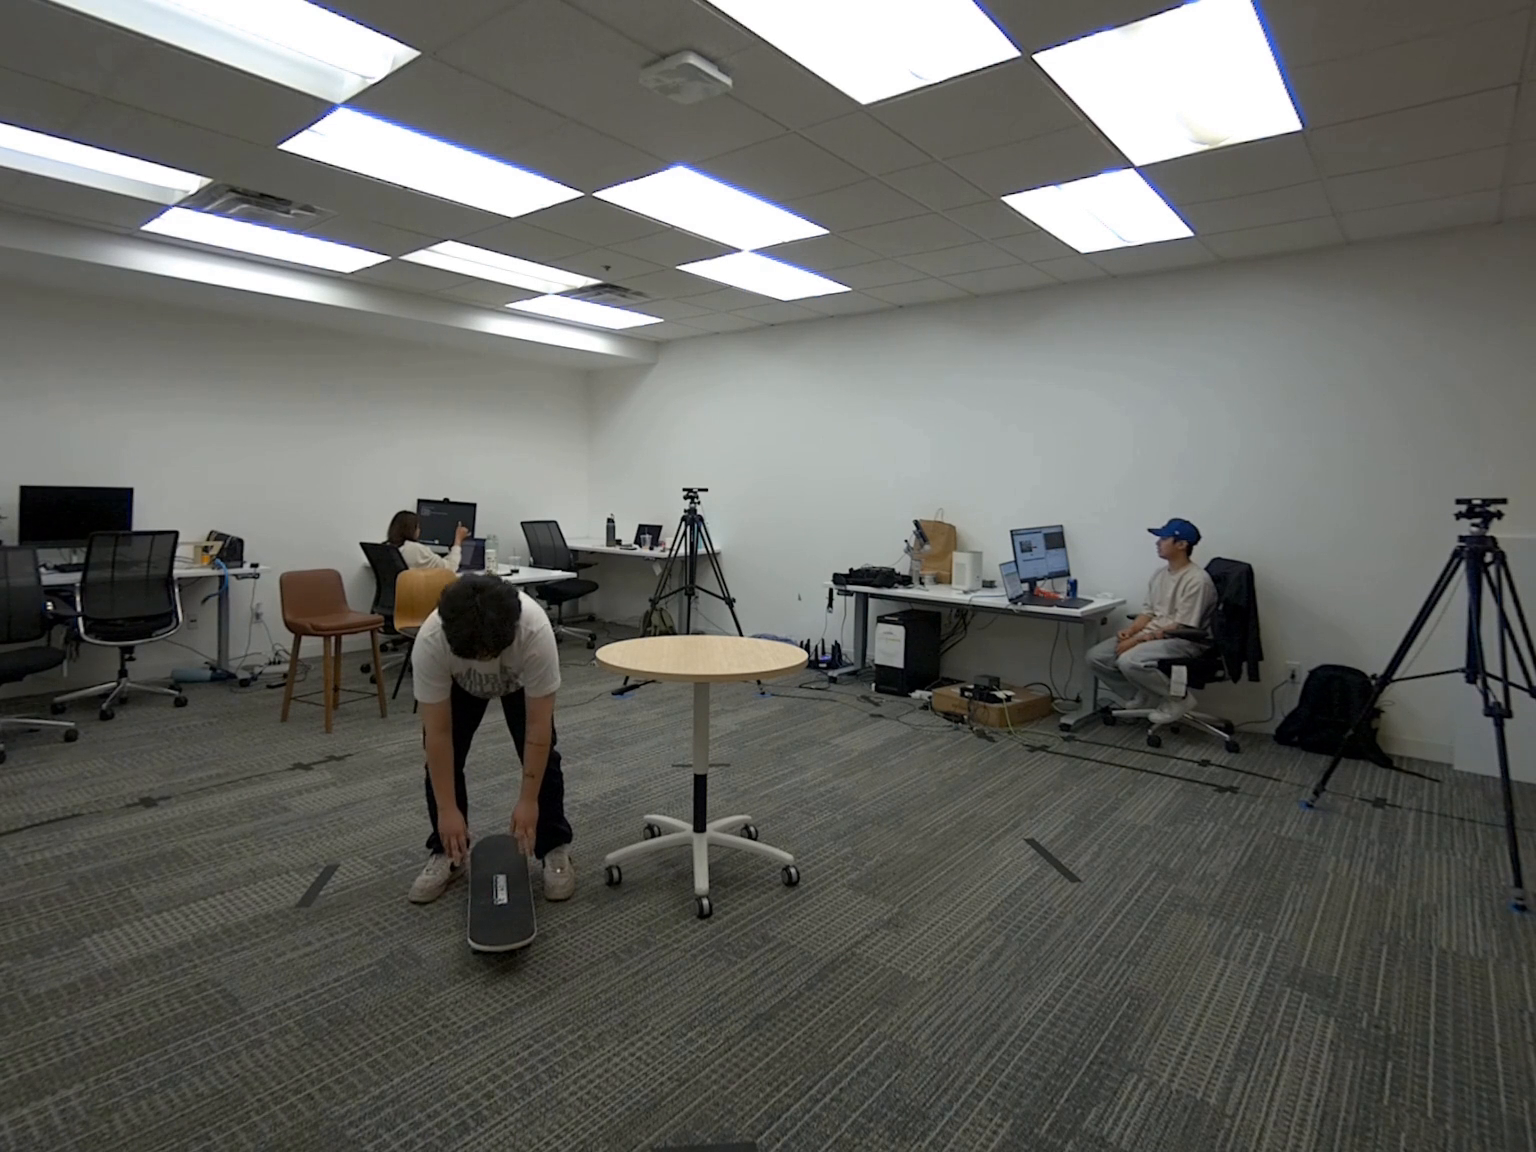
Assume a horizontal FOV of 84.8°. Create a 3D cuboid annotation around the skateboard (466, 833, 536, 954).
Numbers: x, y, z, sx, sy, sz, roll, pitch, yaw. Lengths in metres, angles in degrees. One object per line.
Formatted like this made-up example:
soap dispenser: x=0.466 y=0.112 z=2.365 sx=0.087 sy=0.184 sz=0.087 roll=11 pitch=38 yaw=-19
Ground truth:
skateboard: x=-0.869 y=1.034 z=2.746 sx=0.190 sy=0.110 sz=0.802 roll=0 pitch=6 yaw=-18
